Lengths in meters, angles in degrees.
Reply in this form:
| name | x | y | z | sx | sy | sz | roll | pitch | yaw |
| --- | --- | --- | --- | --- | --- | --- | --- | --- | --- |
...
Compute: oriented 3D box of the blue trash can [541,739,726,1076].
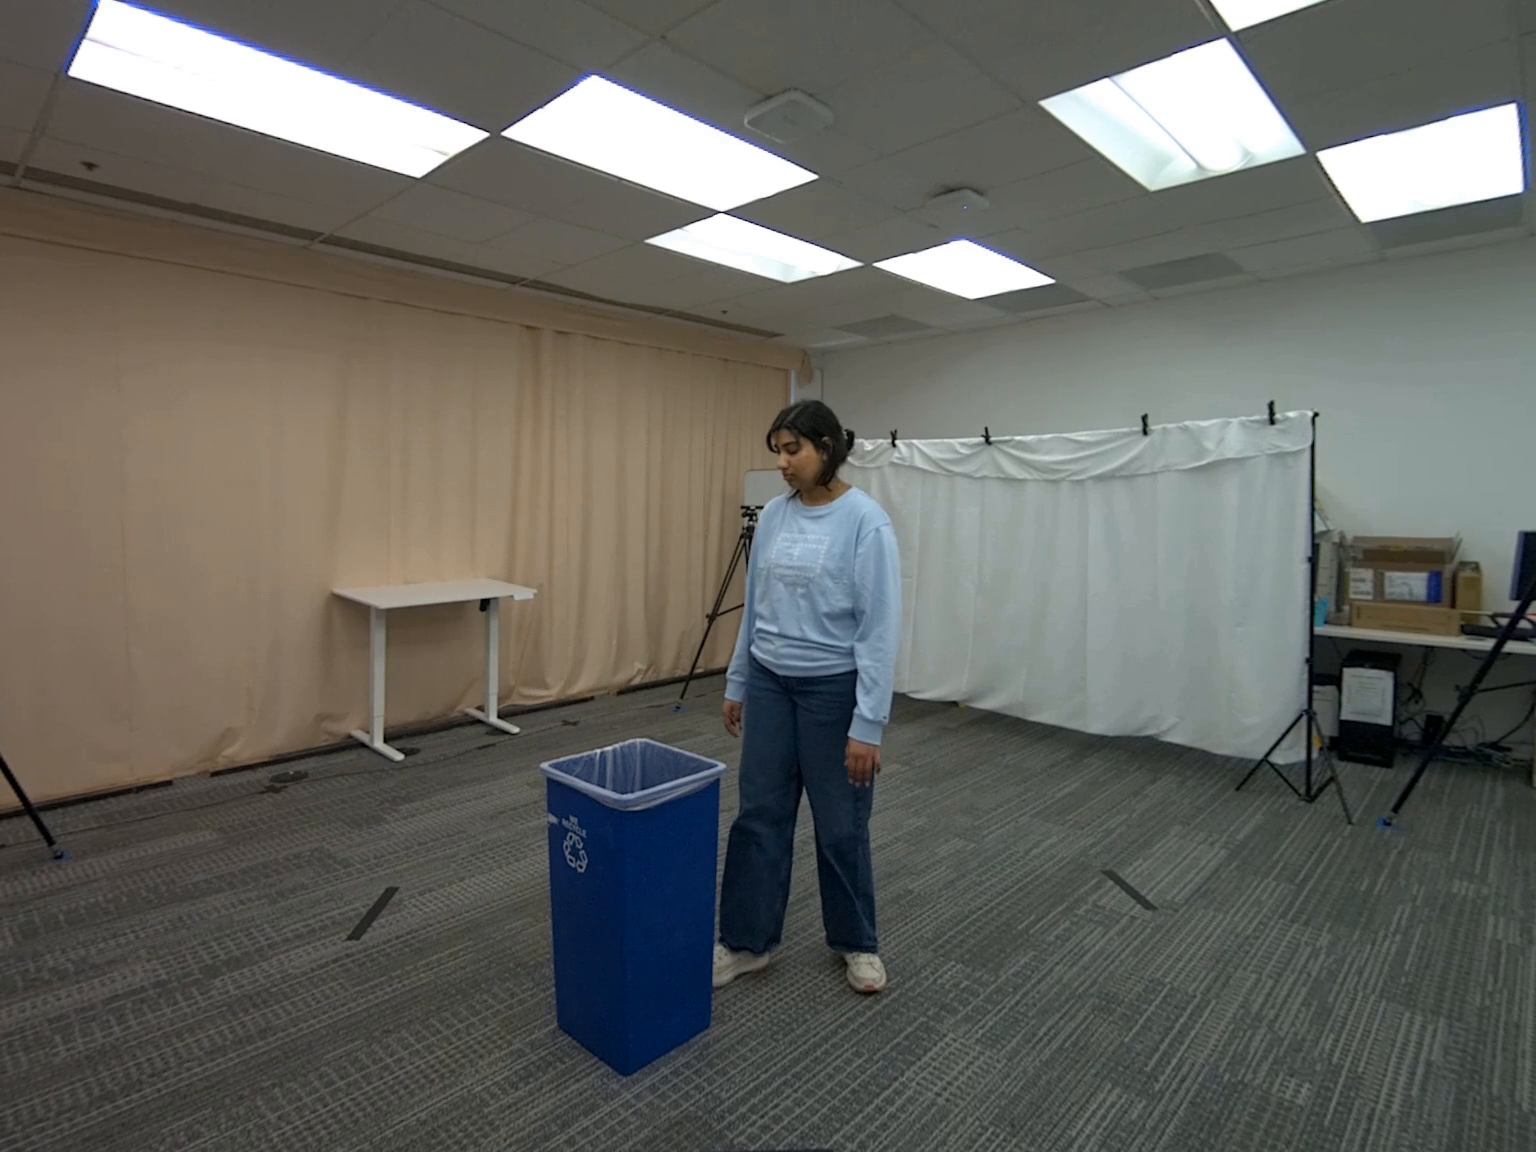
| name | x | y | z | sx | sy | sz | roll | pitch | yaw |
| --- | --- | --- | --- | --- | --- | --- | --- | --- | --- |
| blue trash can | -0.349 | 0.852 | 2.236 | 0.386 | 0.712 | 0.366 | 2 | 4 | 43 |
